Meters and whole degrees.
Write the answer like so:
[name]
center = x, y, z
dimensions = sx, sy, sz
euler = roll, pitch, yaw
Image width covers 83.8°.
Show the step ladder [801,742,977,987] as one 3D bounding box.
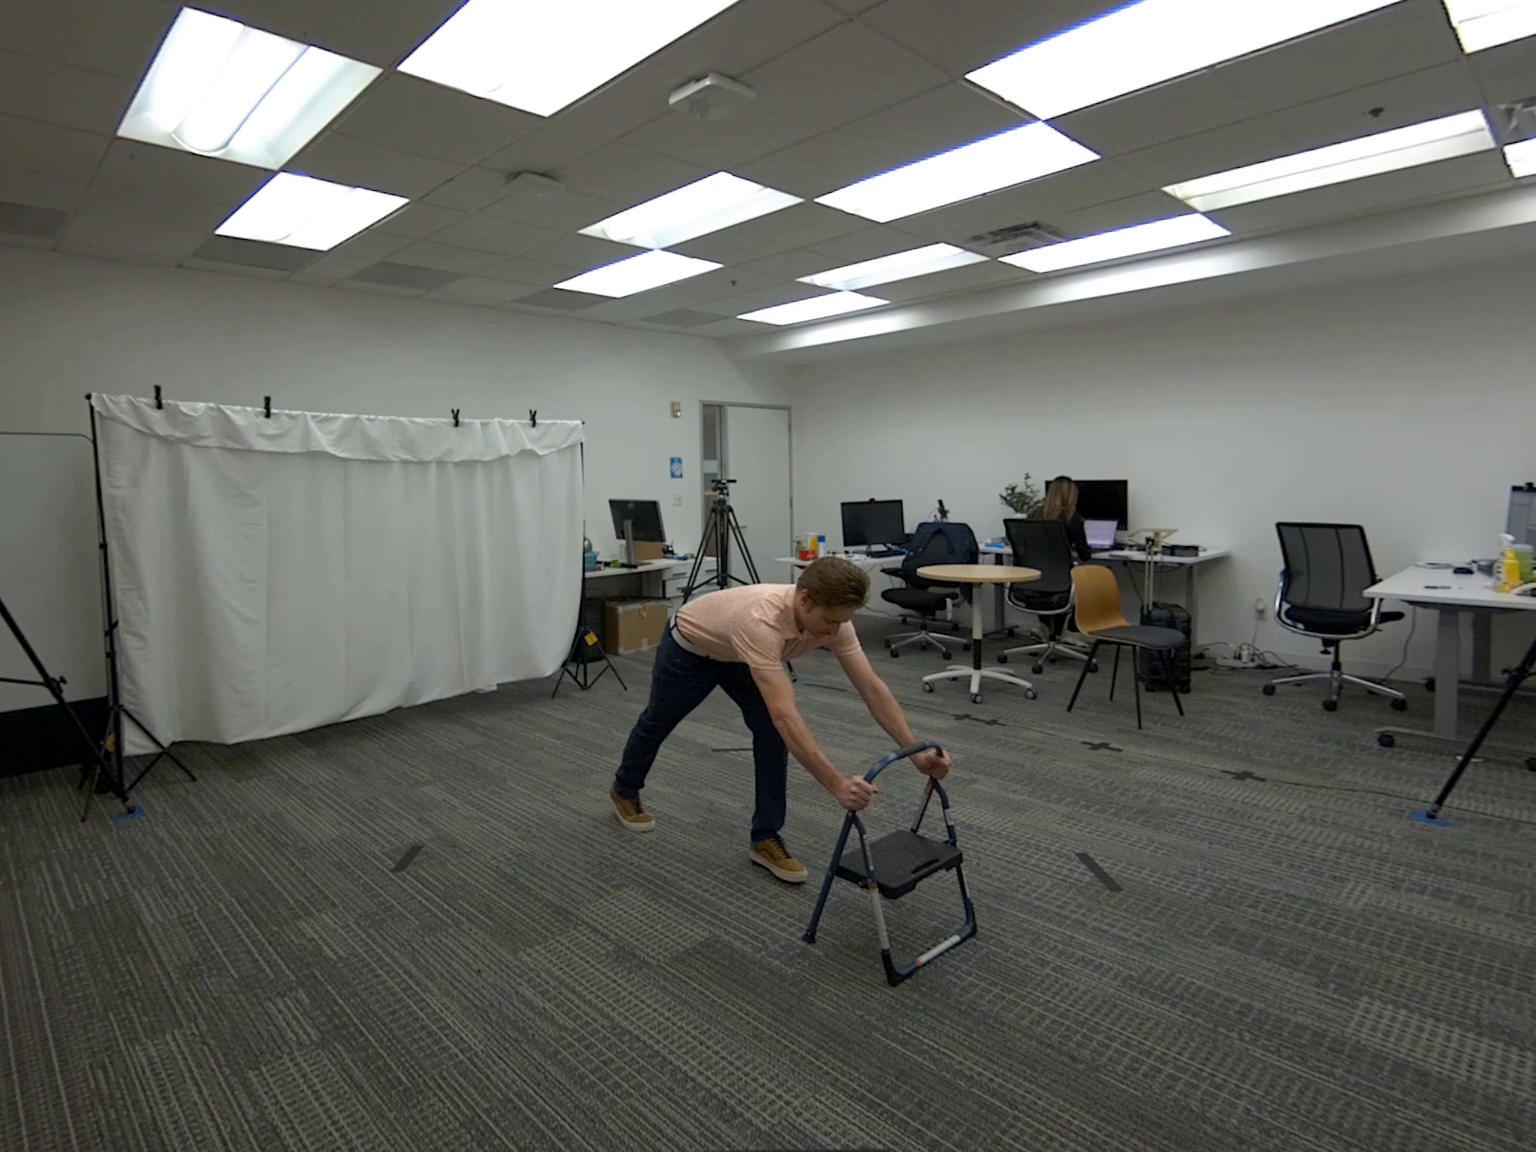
[step ladder]
center = 0.373, 0.800, 2.583
dimensions = 0.419, 0.604, 0.360
euler = -6, 6, -43
